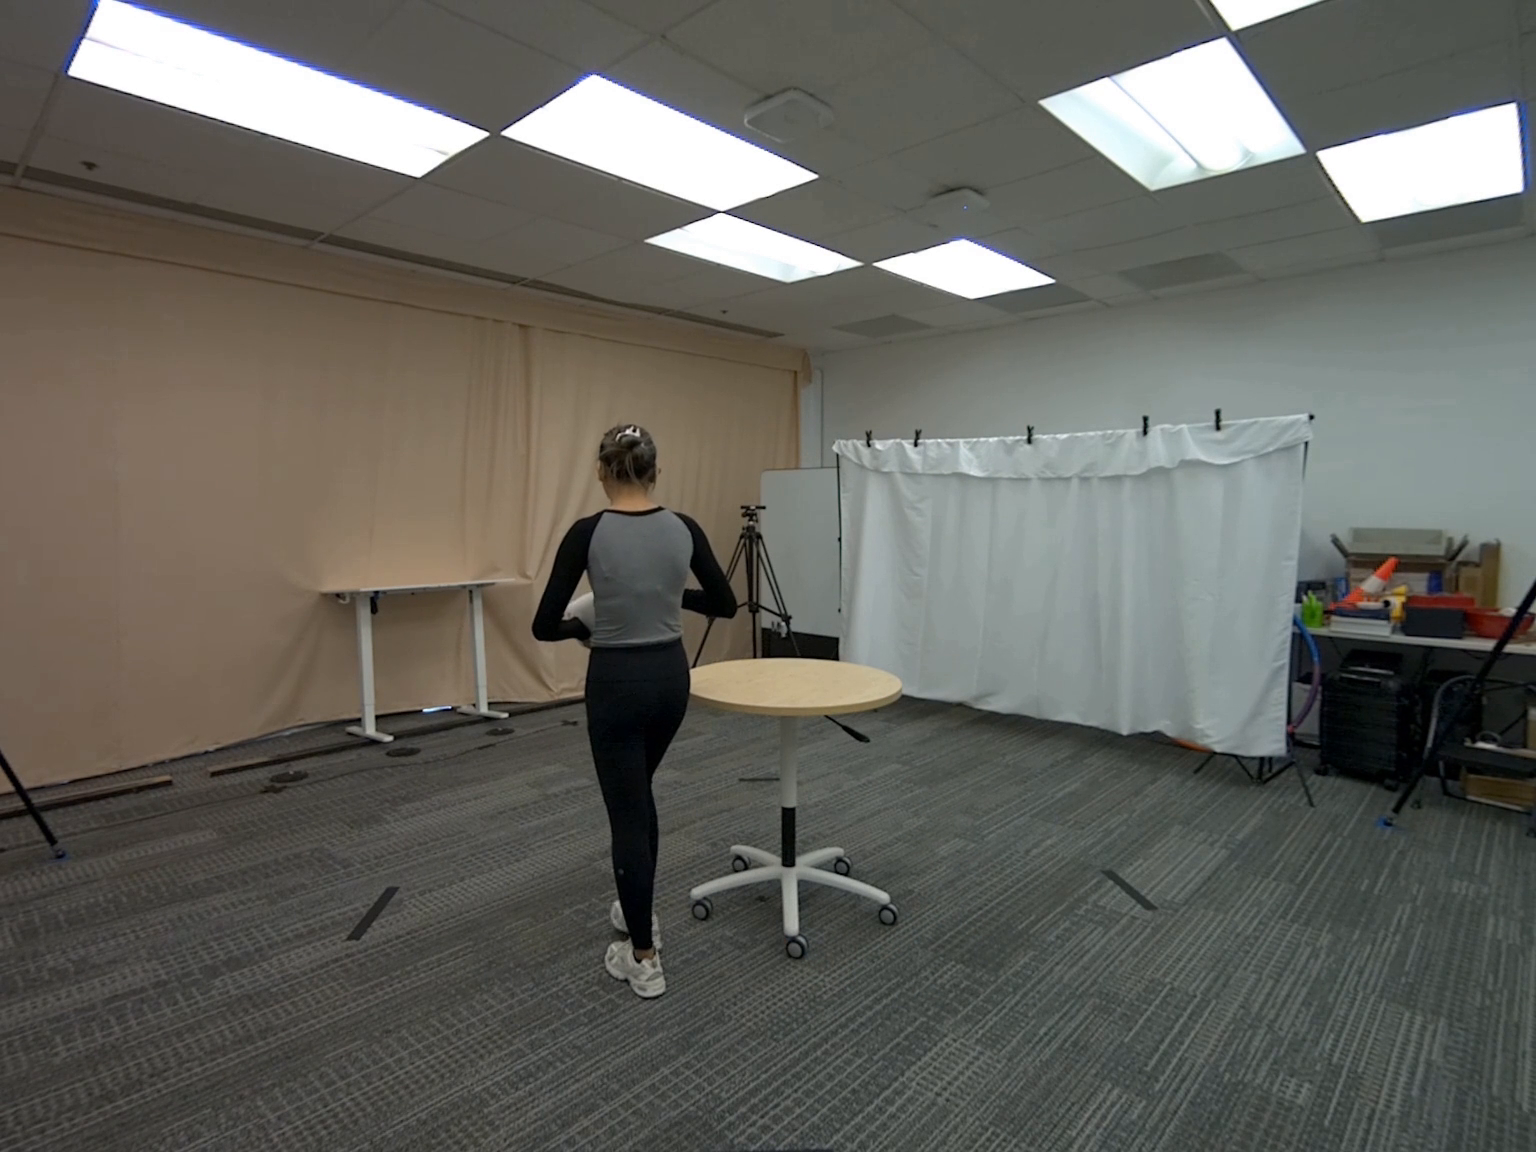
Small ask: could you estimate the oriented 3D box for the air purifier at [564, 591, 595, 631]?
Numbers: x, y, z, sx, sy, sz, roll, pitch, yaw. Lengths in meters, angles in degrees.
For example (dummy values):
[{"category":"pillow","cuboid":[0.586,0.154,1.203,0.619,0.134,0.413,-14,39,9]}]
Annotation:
[{"category":"air purifier","cuboid":[-0.522,0.123,2.701,0.168,0.171,0.271,-29,5,-35]}]
